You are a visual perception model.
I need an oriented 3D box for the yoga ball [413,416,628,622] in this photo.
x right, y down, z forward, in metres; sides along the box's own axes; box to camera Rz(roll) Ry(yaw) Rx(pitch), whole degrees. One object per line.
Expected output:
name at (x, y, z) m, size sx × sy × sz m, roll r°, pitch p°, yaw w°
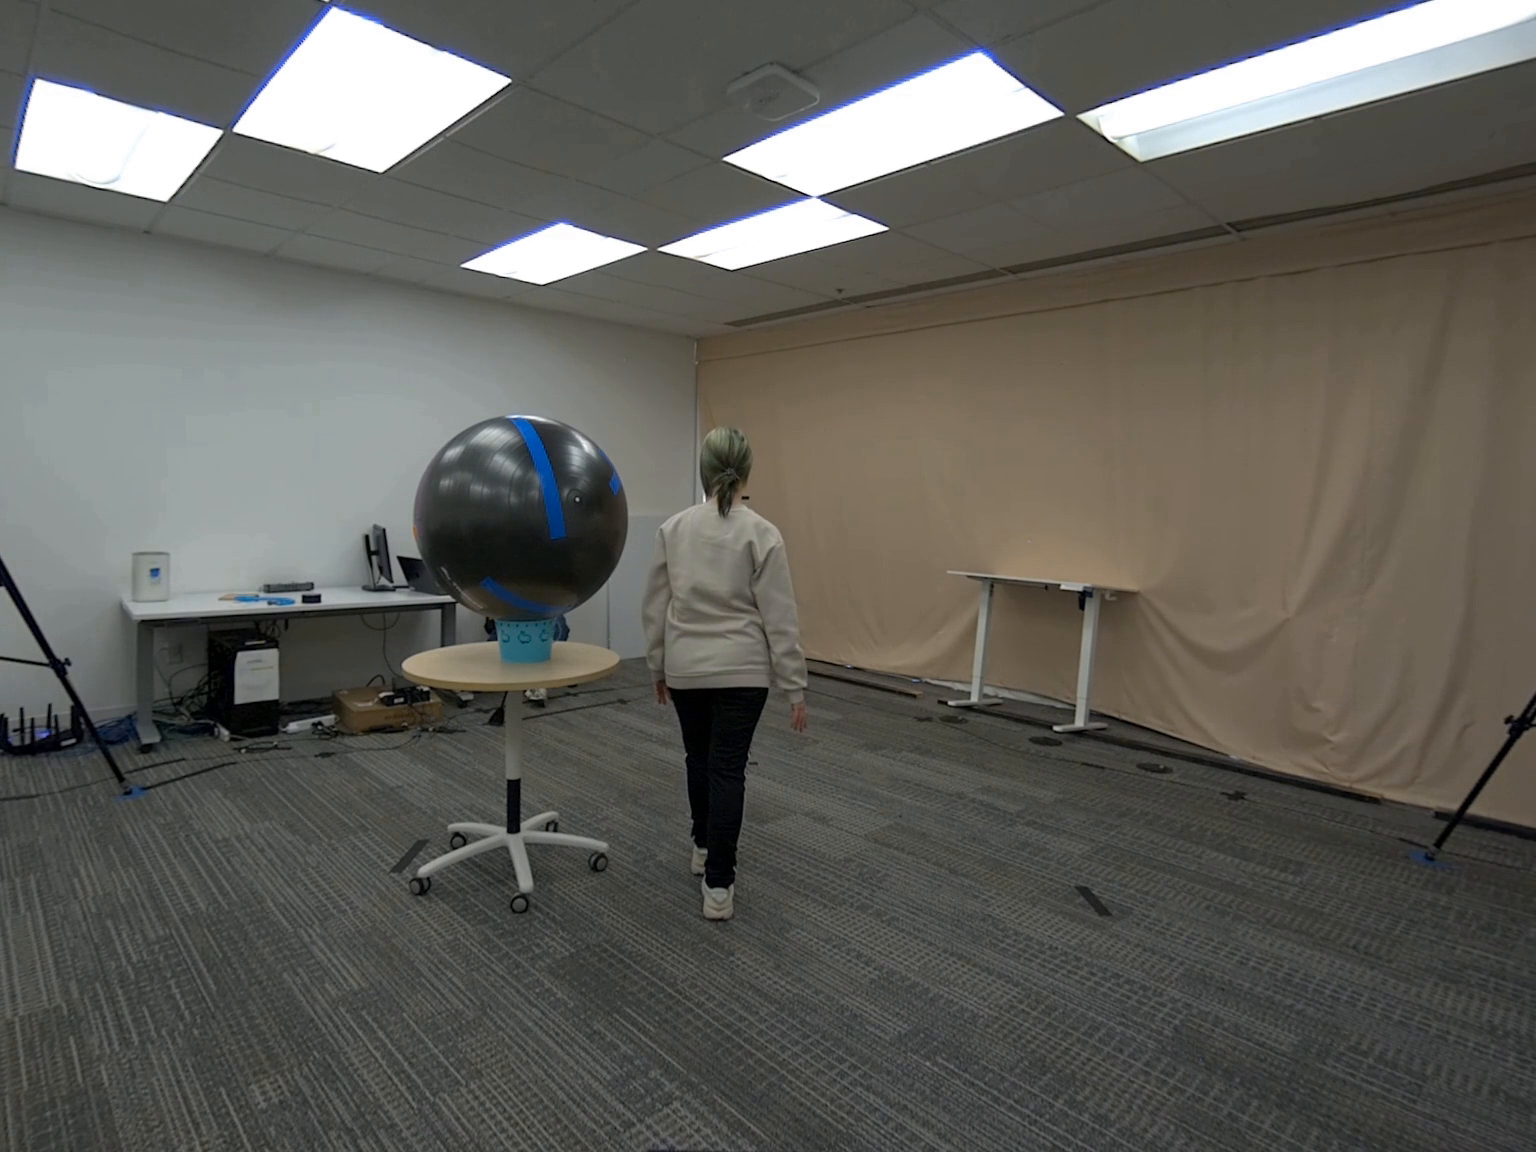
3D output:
yoga ball at (-0.899, -0.204, 3.081) m, size 0.757 × 0.756 × 0.761 m, roll 1°, pitch 4°, yaw -1°
